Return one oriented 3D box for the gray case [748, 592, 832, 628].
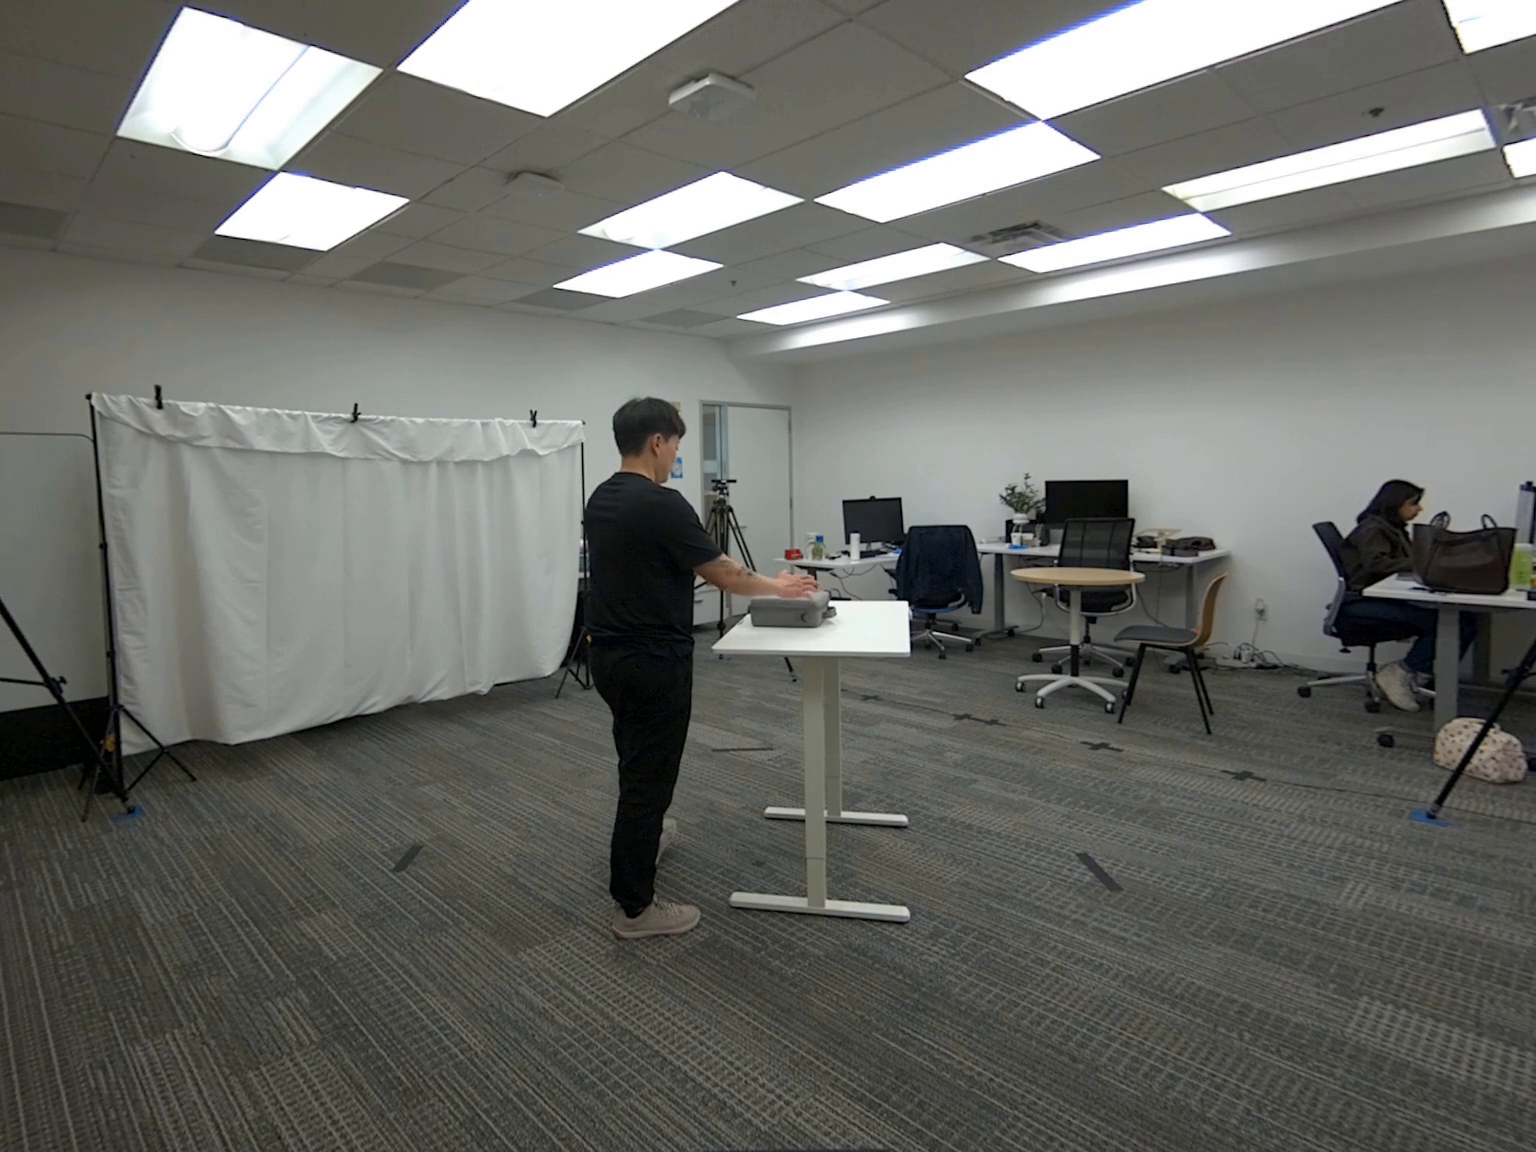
[{"bbox_3d":[0.094,0.113,3.085,0.265,0.104,0.254,1,5,15],"label":"gray case"}]
